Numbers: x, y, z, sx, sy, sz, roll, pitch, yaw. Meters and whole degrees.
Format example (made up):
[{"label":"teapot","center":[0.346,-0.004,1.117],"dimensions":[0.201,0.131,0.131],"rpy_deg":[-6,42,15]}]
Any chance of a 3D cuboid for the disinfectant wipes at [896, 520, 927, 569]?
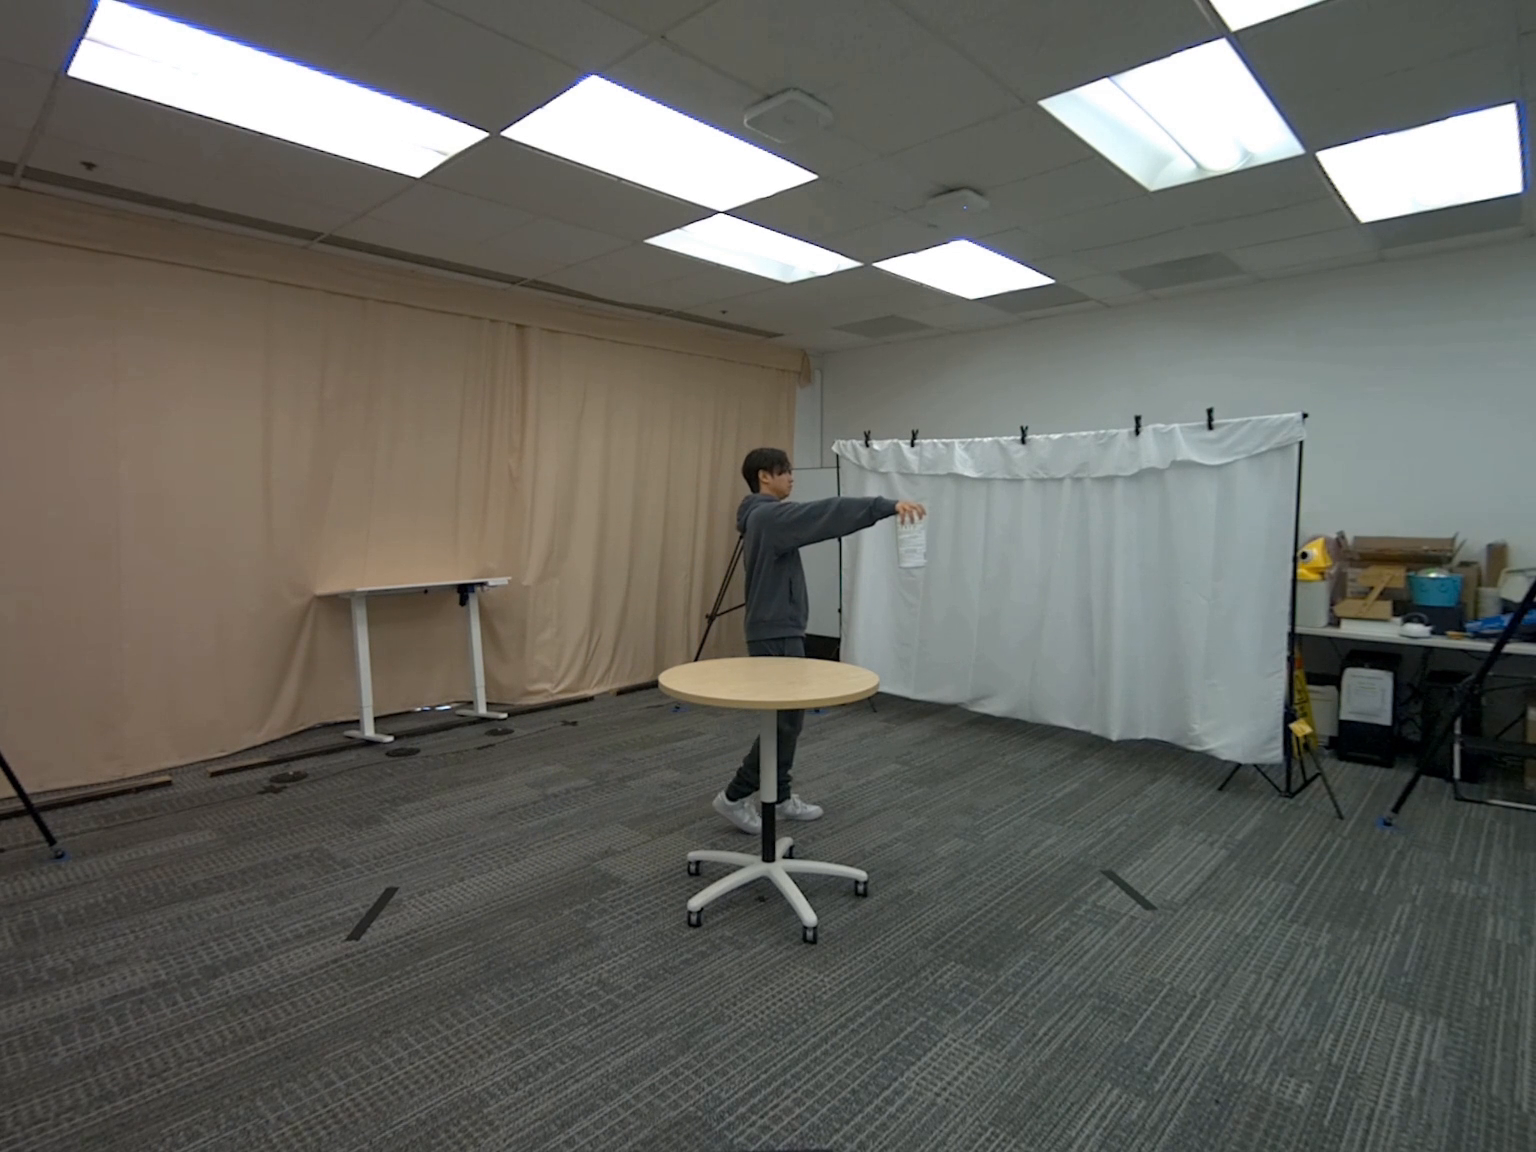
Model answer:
[{"label":"disinfectant wipes","center":[0.565,-0.136,3.273],"dimensions":[0.118,0.217,0.118],"rpy_deg":[-4,4,-1]}]
